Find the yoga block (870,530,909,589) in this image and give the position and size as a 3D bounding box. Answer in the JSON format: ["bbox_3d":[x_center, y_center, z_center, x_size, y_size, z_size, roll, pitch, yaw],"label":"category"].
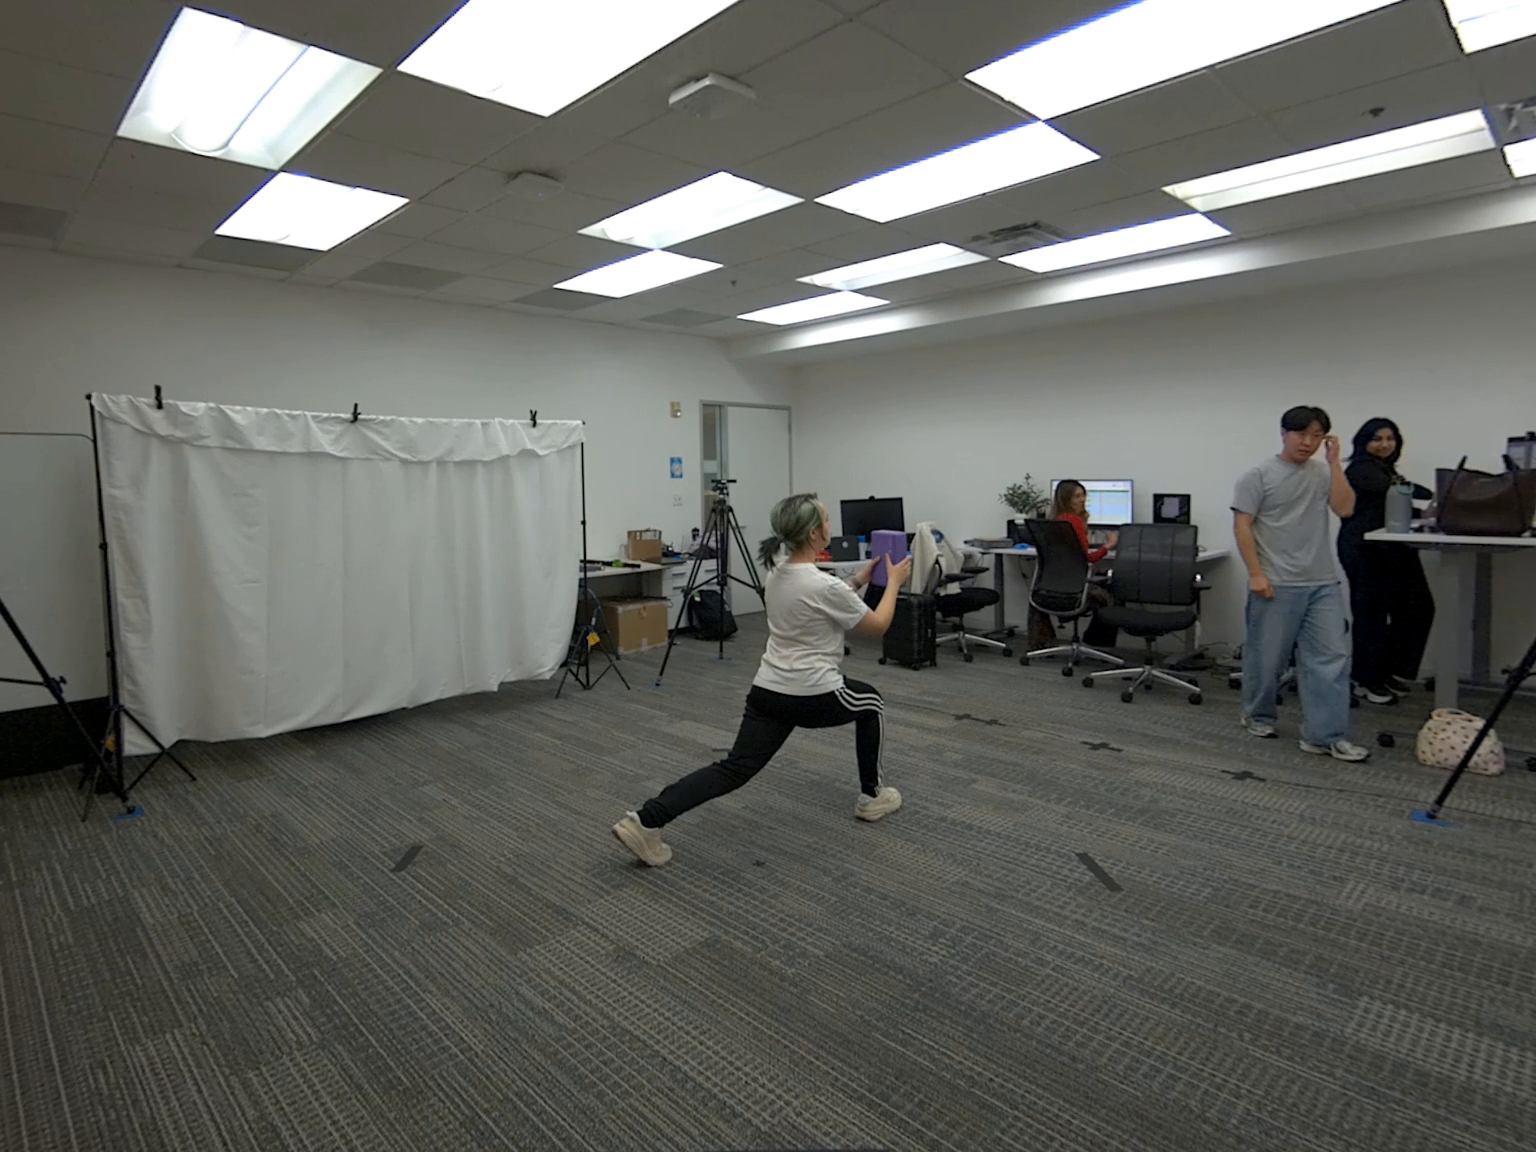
[{"bbox_3d":[0.513,-0.072,3.592,0.075,0.228,0.153,-6,9,-33],"label":"yoga block"}]
